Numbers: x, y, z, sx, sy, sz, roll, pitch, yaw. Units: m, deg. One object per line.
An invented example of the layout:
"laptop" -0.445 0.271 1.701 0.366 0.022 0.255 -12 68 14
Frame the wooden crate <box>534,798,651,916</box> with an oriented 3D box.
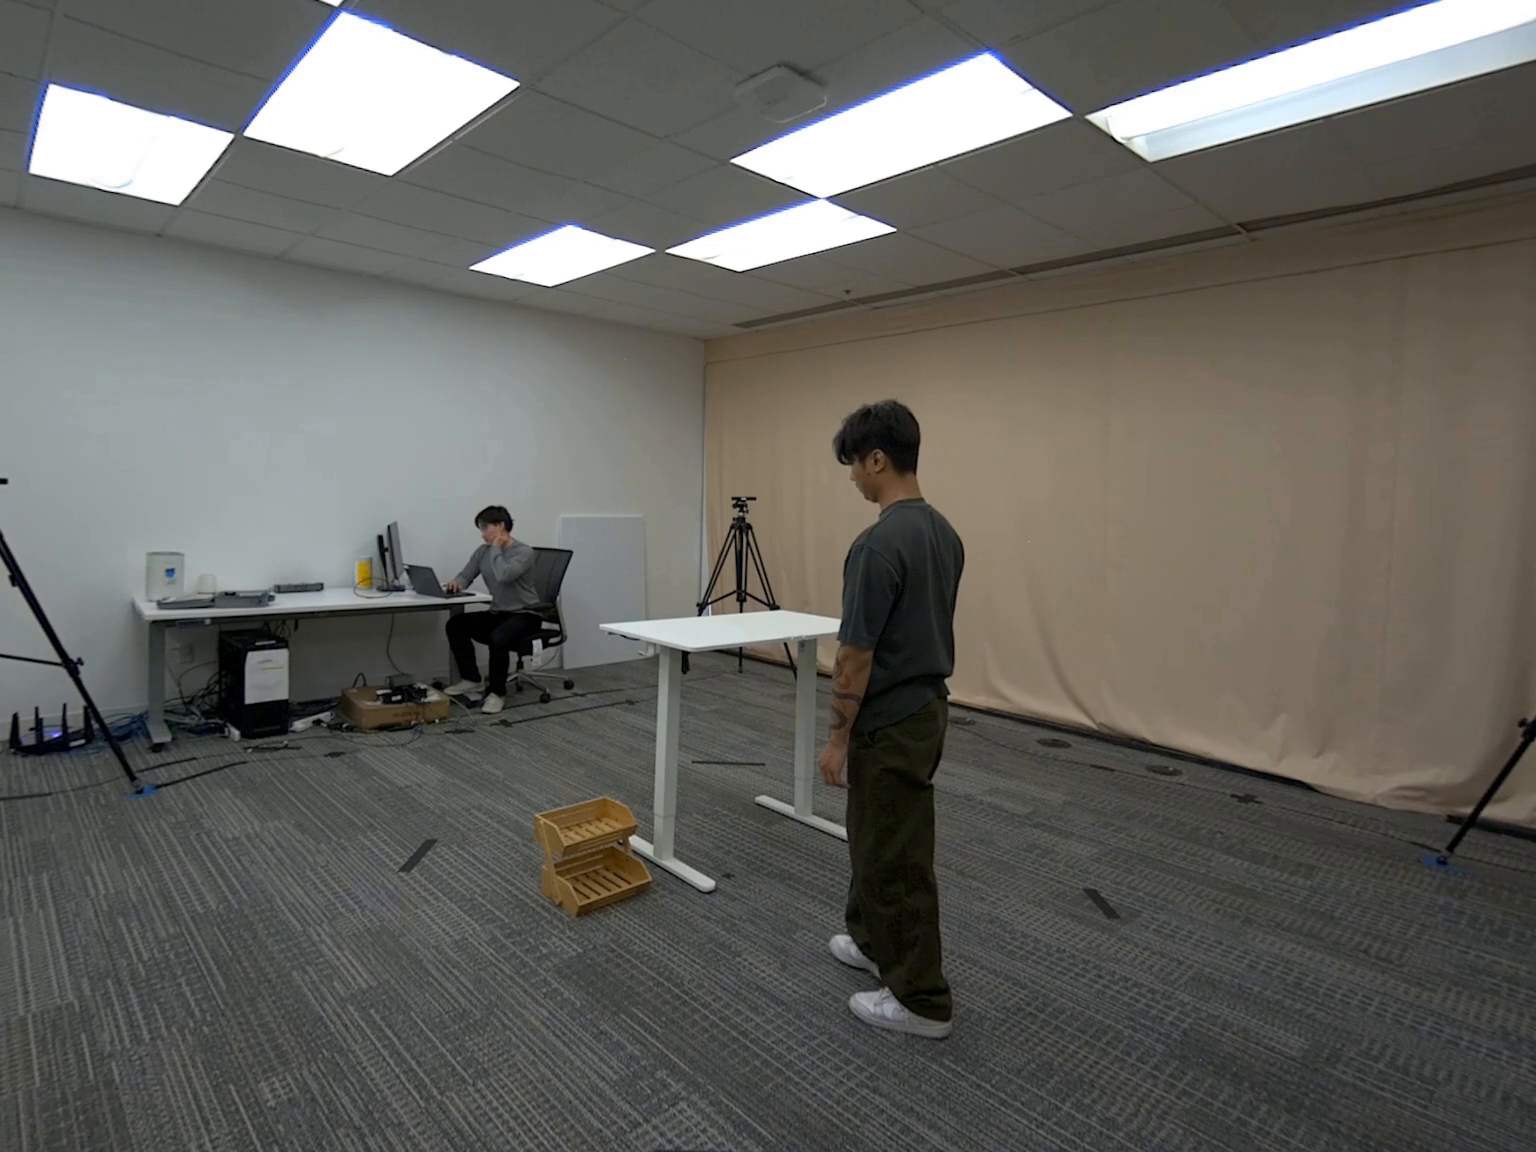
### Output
"wooden crate" -0.623 0.977 2.965 0.317 0.272 0.310 -2 5 -44
